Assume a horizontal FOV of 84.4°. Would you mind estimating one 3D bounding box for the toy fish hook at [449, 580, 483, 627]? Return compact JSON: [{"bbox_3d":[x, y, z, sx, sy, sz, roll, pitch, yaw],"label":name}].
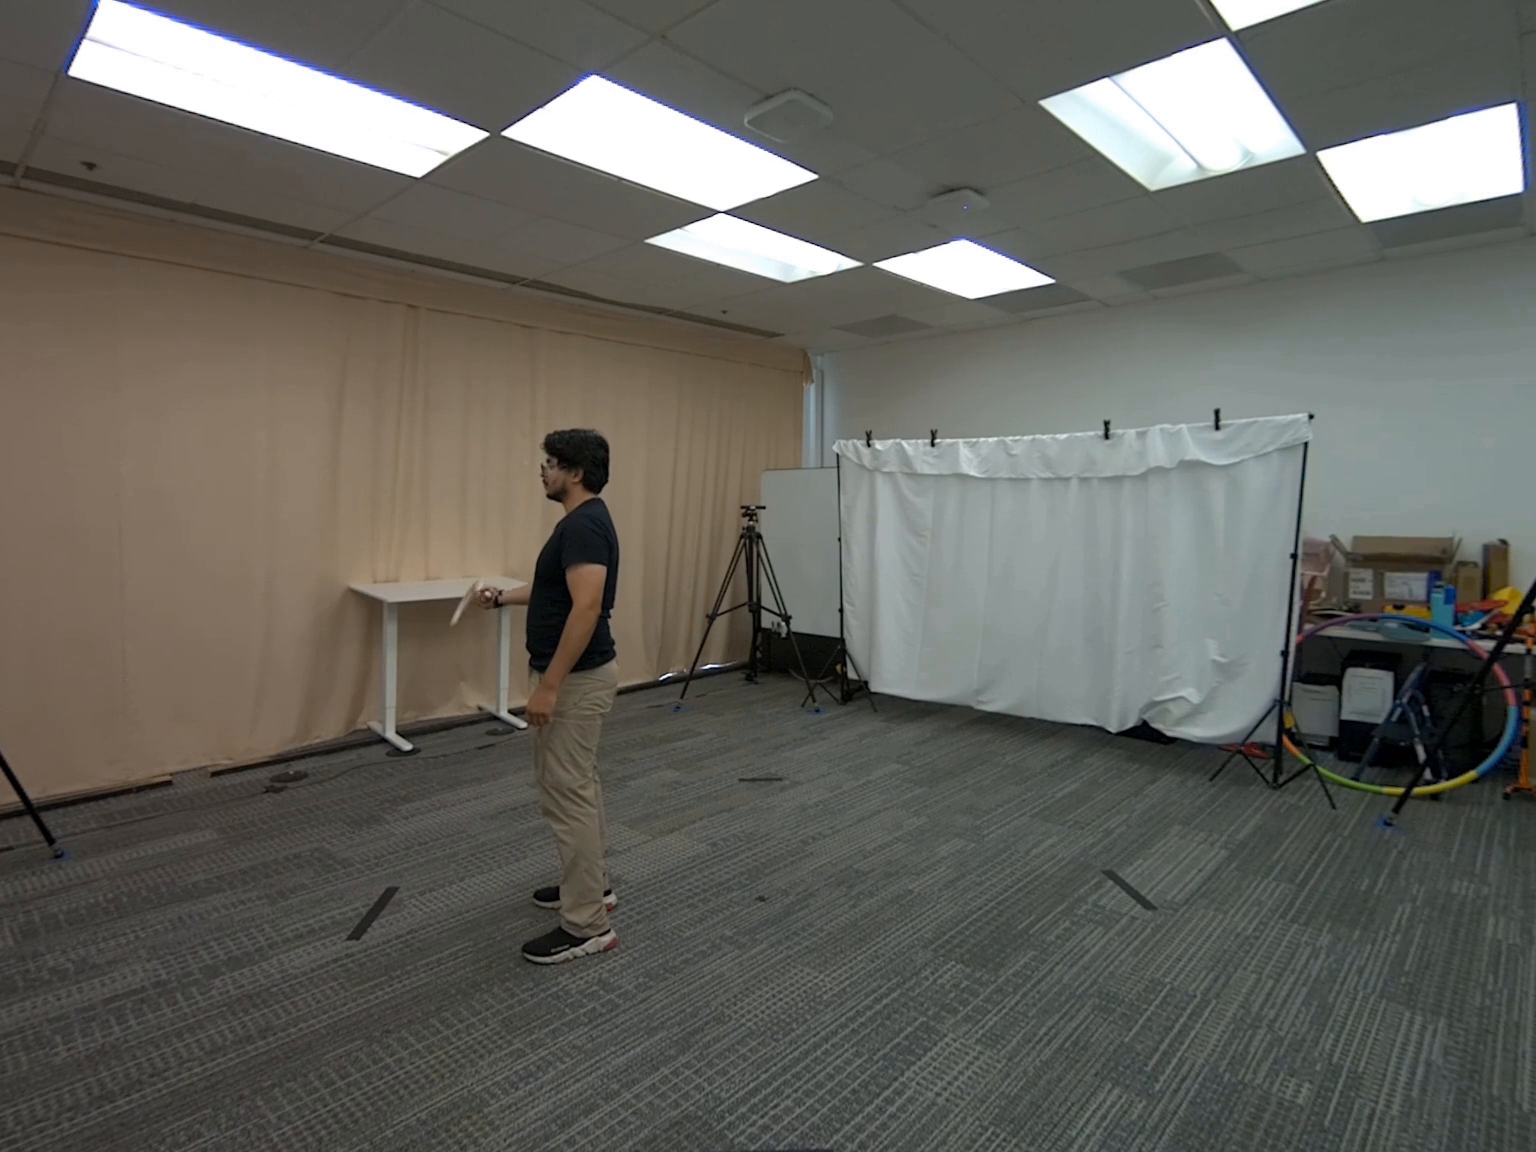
[{"bbox_3d":[-1.196,0.118,3.396,0.047,0.225,0.518,29,-11,-23],"label":"toy fish hook"}]
